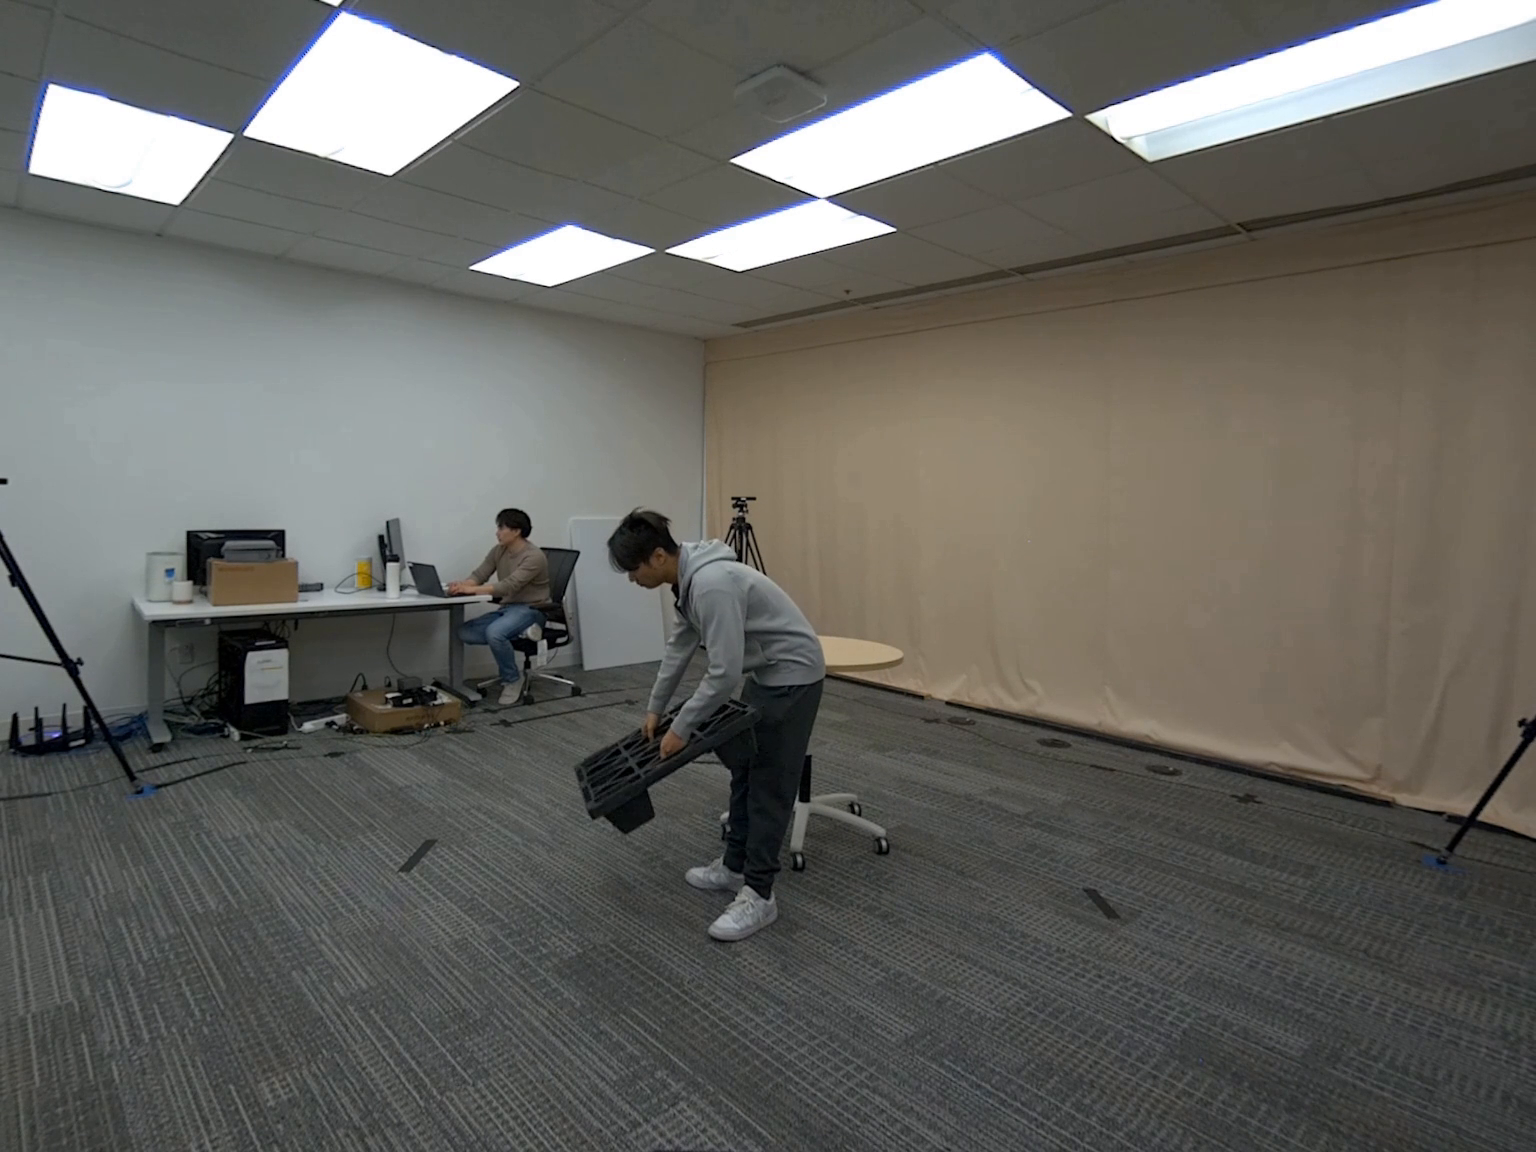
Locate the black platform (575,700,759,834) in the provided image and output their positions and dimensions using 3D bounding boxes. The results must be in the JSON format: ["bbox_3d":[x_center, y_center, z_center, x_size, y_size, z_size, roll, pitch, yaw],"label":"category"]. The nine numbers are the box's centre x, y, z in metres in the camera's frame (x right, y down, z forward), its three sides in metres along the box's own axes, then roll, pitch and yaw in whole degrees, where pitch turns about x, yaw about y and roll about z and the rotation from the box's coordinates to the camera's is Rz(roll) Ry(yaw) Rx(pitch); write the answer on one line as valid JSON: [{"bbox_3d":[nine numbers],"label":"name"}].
[{"bbox_3d":[-0.366,0.629,2.927,0.602,0.143,0.812,-29,5,-14],"label":"black platform"}]
